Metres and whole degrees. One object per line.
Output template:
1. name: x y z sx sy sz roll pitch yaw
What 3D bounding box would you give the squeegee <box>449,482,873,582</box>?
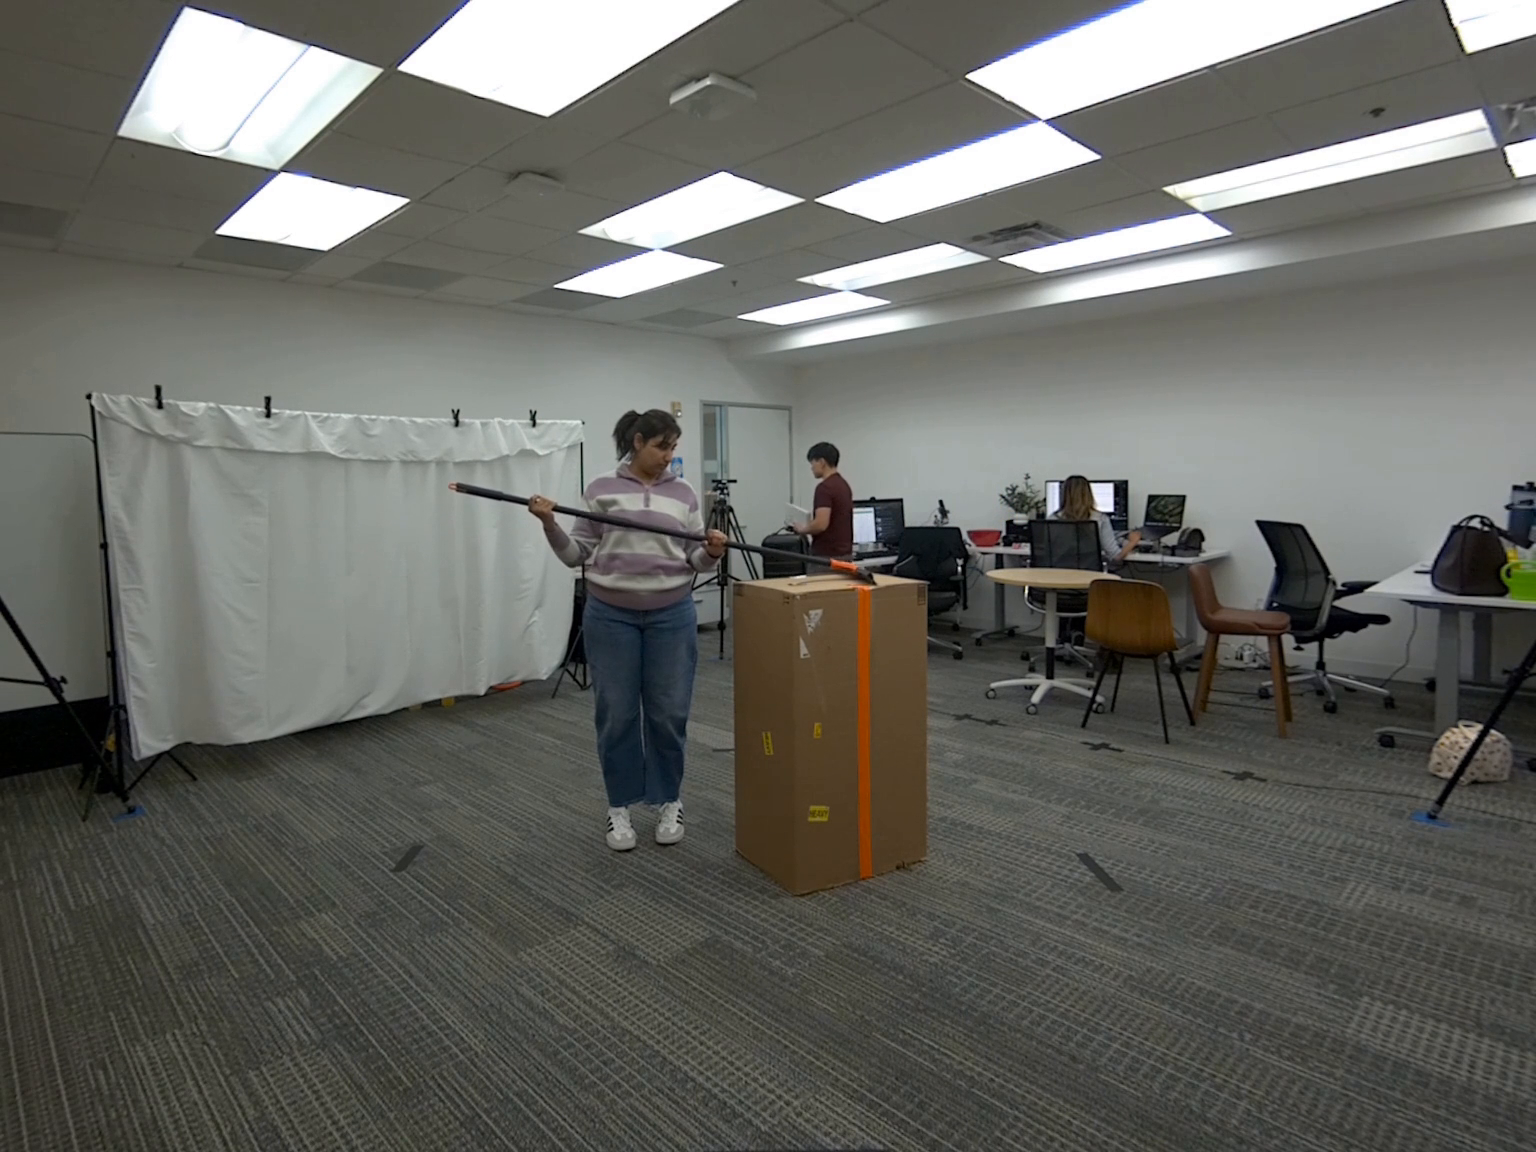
1. squeegee: -0.377 -0.173 3.103 1.531 0.053 0.438 13 -1 -3
